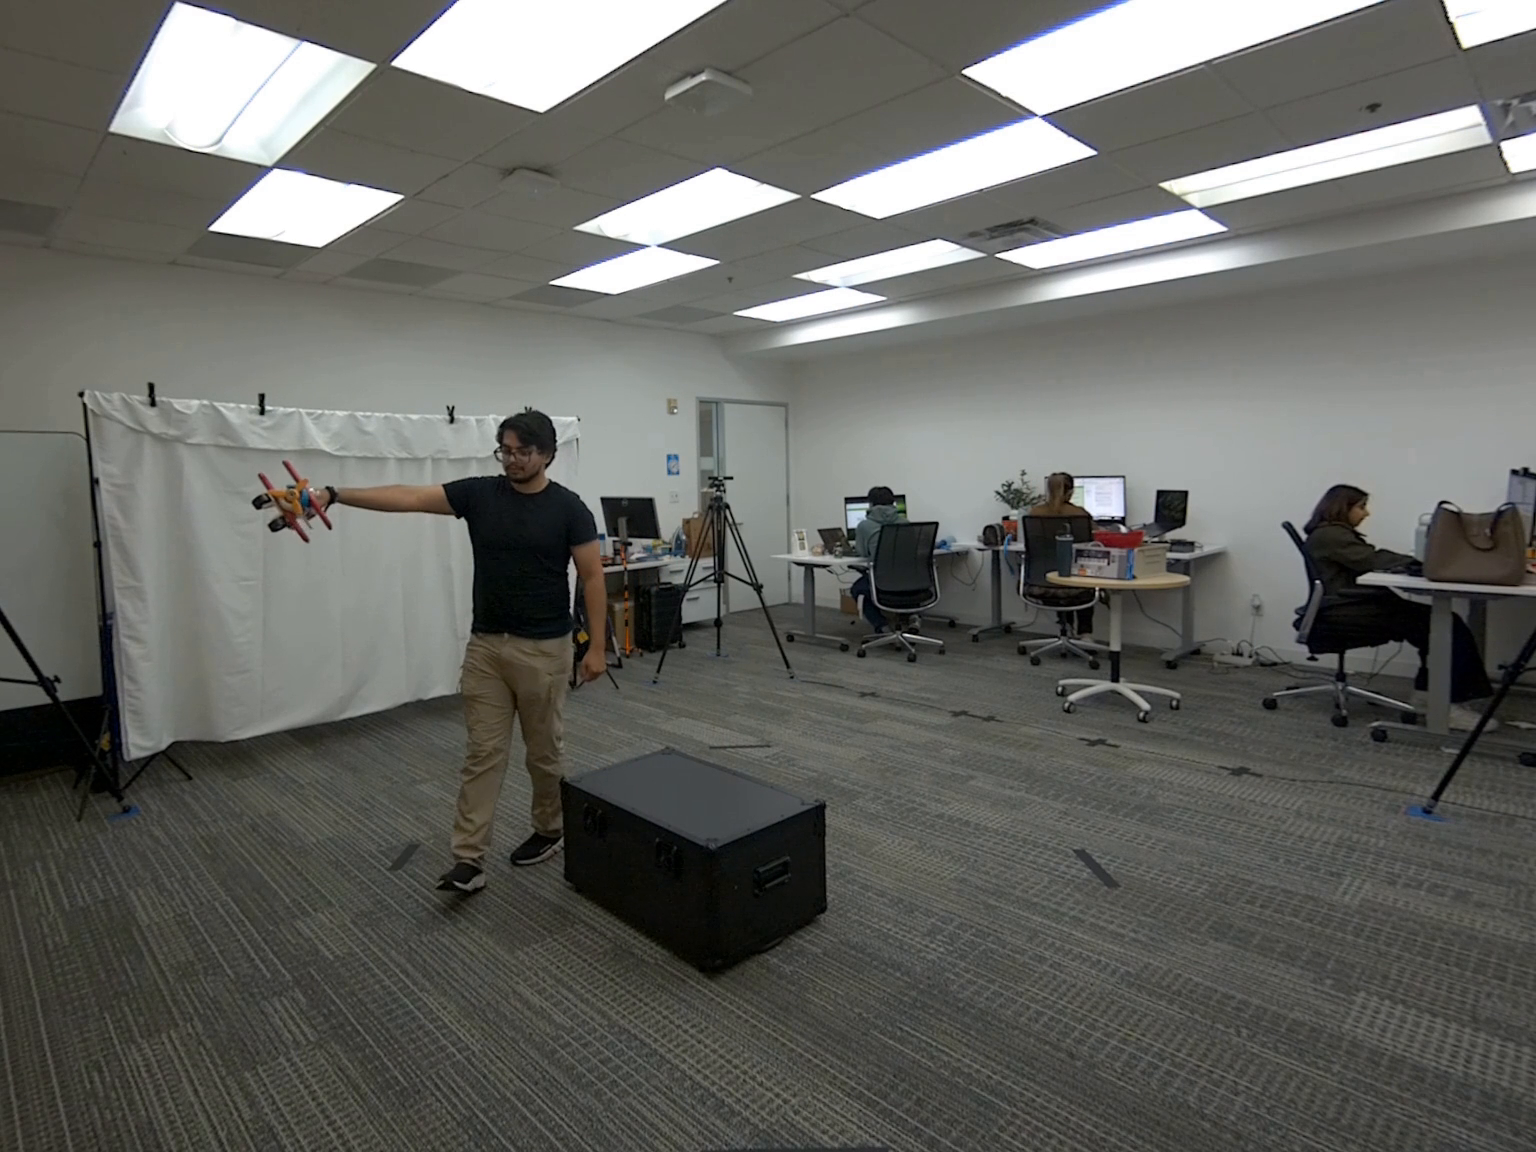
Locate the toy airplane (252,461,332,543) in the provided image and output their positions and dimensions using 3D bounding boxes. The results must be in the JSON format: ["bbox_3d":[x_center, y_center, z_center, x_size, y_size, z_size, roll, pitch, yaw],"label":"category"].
[{"bbox_3d":[-1.500,-0.234,2.694,0.156,0.243,0.268,-34,31,-9],"label":"toy airplane"}]
